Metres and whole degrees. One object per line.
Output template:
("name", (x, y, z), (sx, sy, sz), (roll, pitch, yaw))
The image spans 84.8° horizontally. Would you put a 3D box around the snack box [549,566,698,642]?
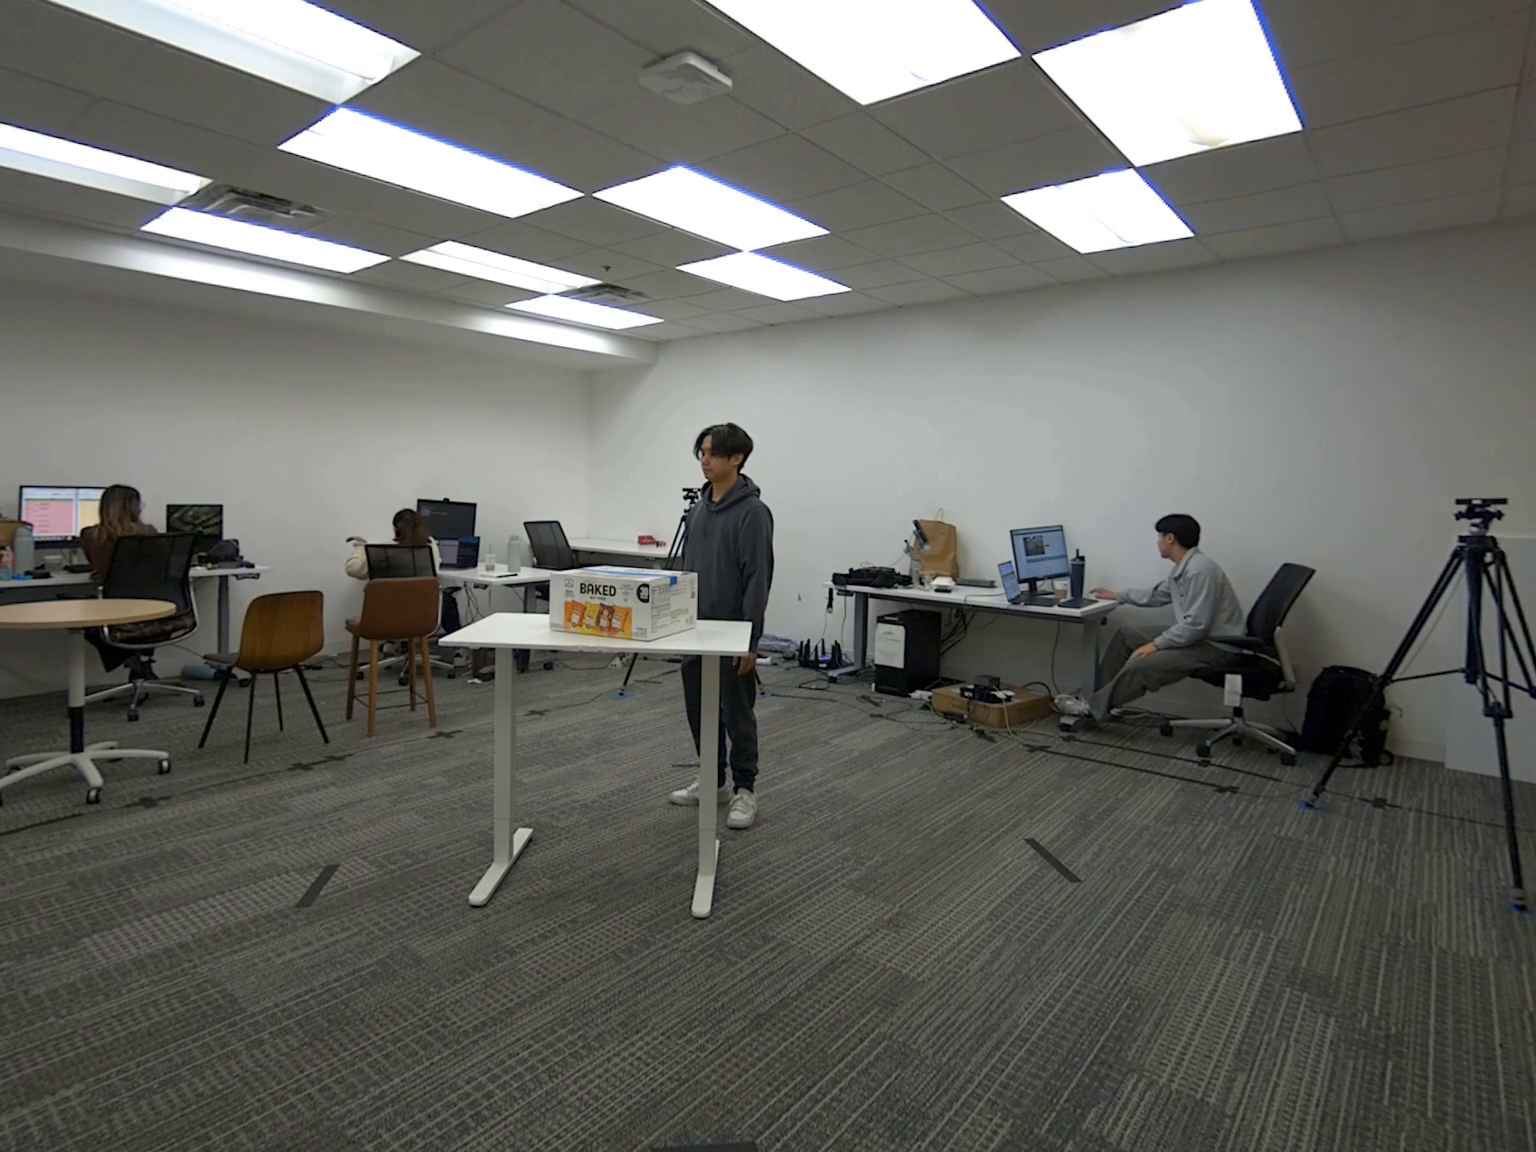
("snack box", (-0.521, 0.088, 3.036), (0.416, 0.205, 0.333), (4, 6, 25))
